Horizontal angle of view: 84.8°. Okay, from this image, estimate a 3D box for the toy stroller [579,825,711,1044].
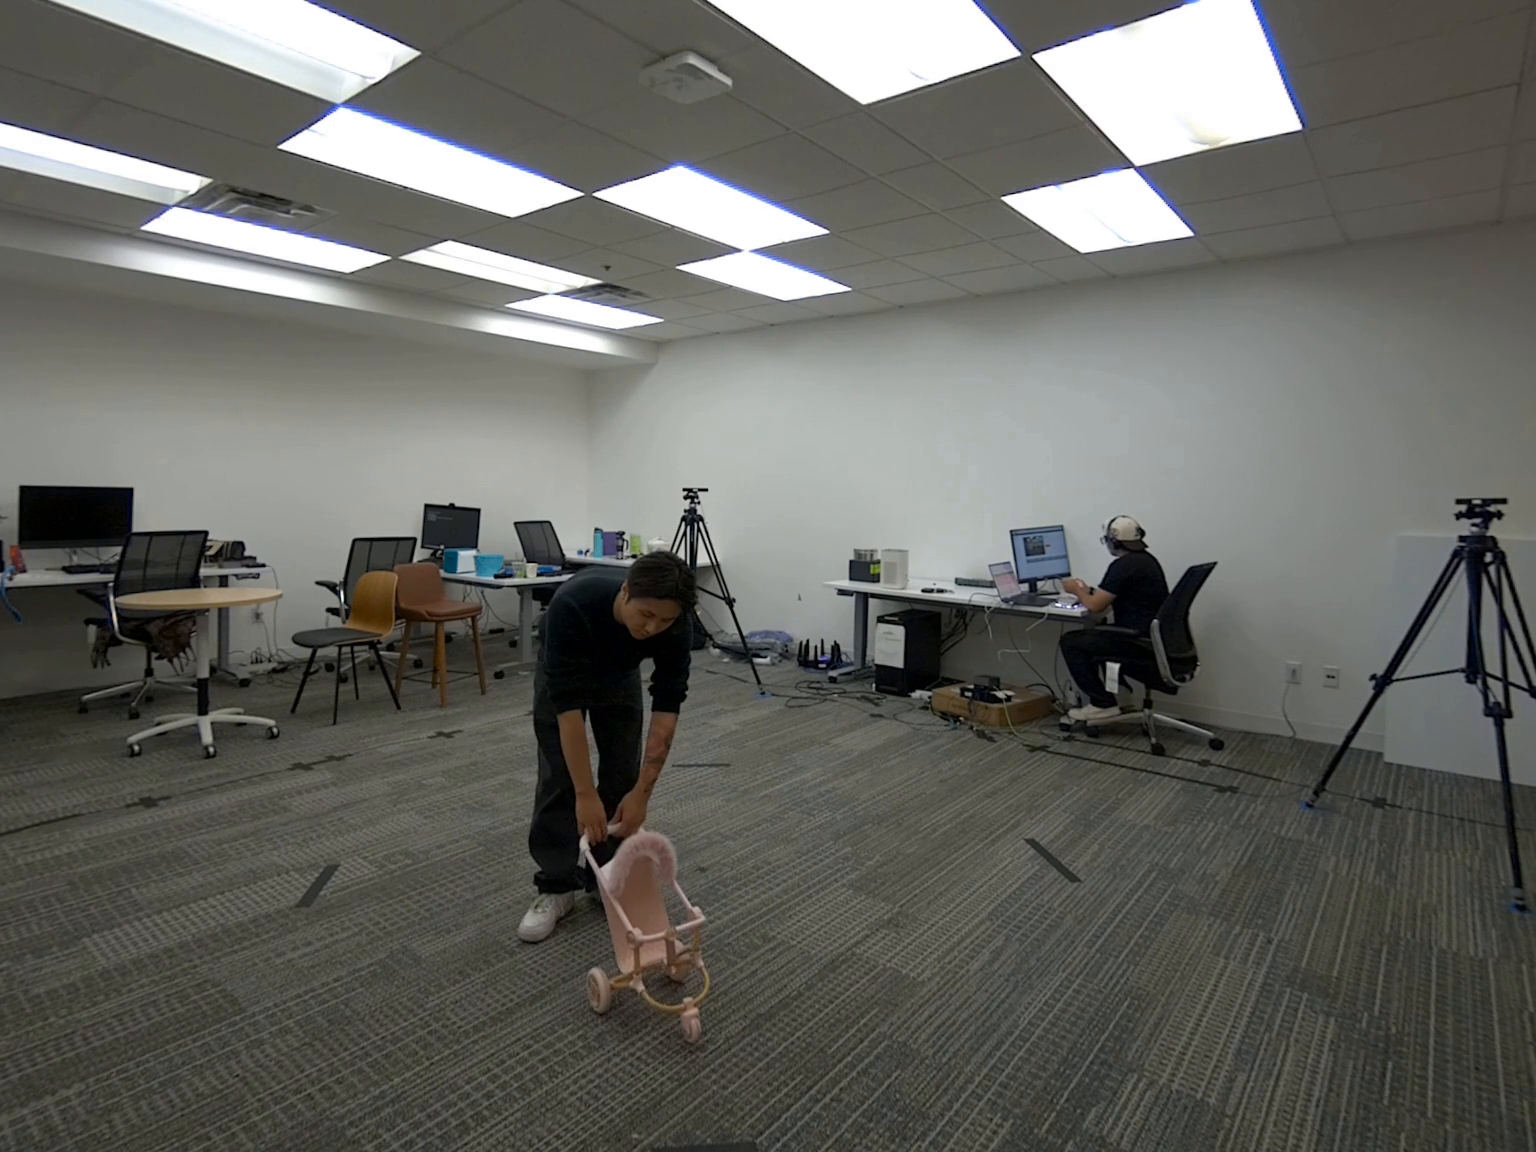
[{"bbox_3d":[-0.330,0.925,2.279,0.273,0.543,0.346,-2,-15,-35],"label":"toy stroller"}]
